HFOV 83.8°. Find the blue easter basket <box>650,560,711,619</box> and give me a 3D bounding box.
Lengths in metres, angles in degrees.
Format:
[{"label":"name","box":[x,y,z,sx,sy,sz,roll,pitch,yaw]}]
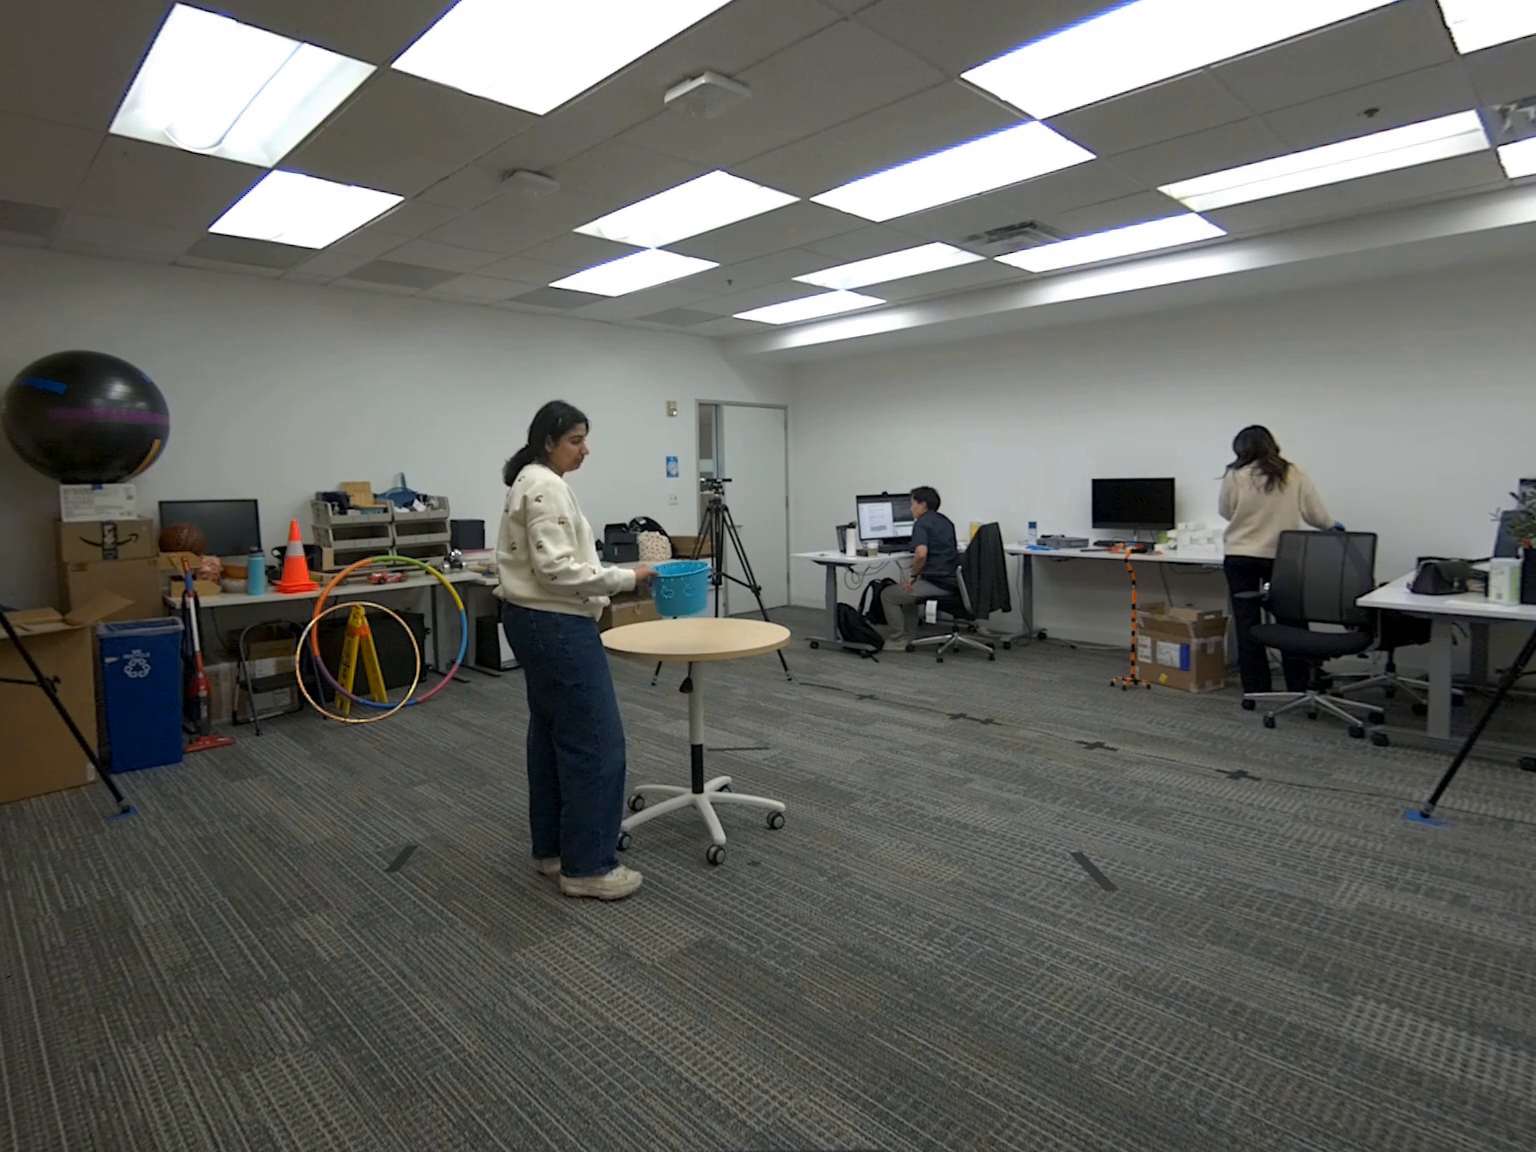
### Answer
[{"label":"blue easter basket","box":[-0.313,0.049,2.996,0.243,0.154,0.246,-5,12,-1]}]
